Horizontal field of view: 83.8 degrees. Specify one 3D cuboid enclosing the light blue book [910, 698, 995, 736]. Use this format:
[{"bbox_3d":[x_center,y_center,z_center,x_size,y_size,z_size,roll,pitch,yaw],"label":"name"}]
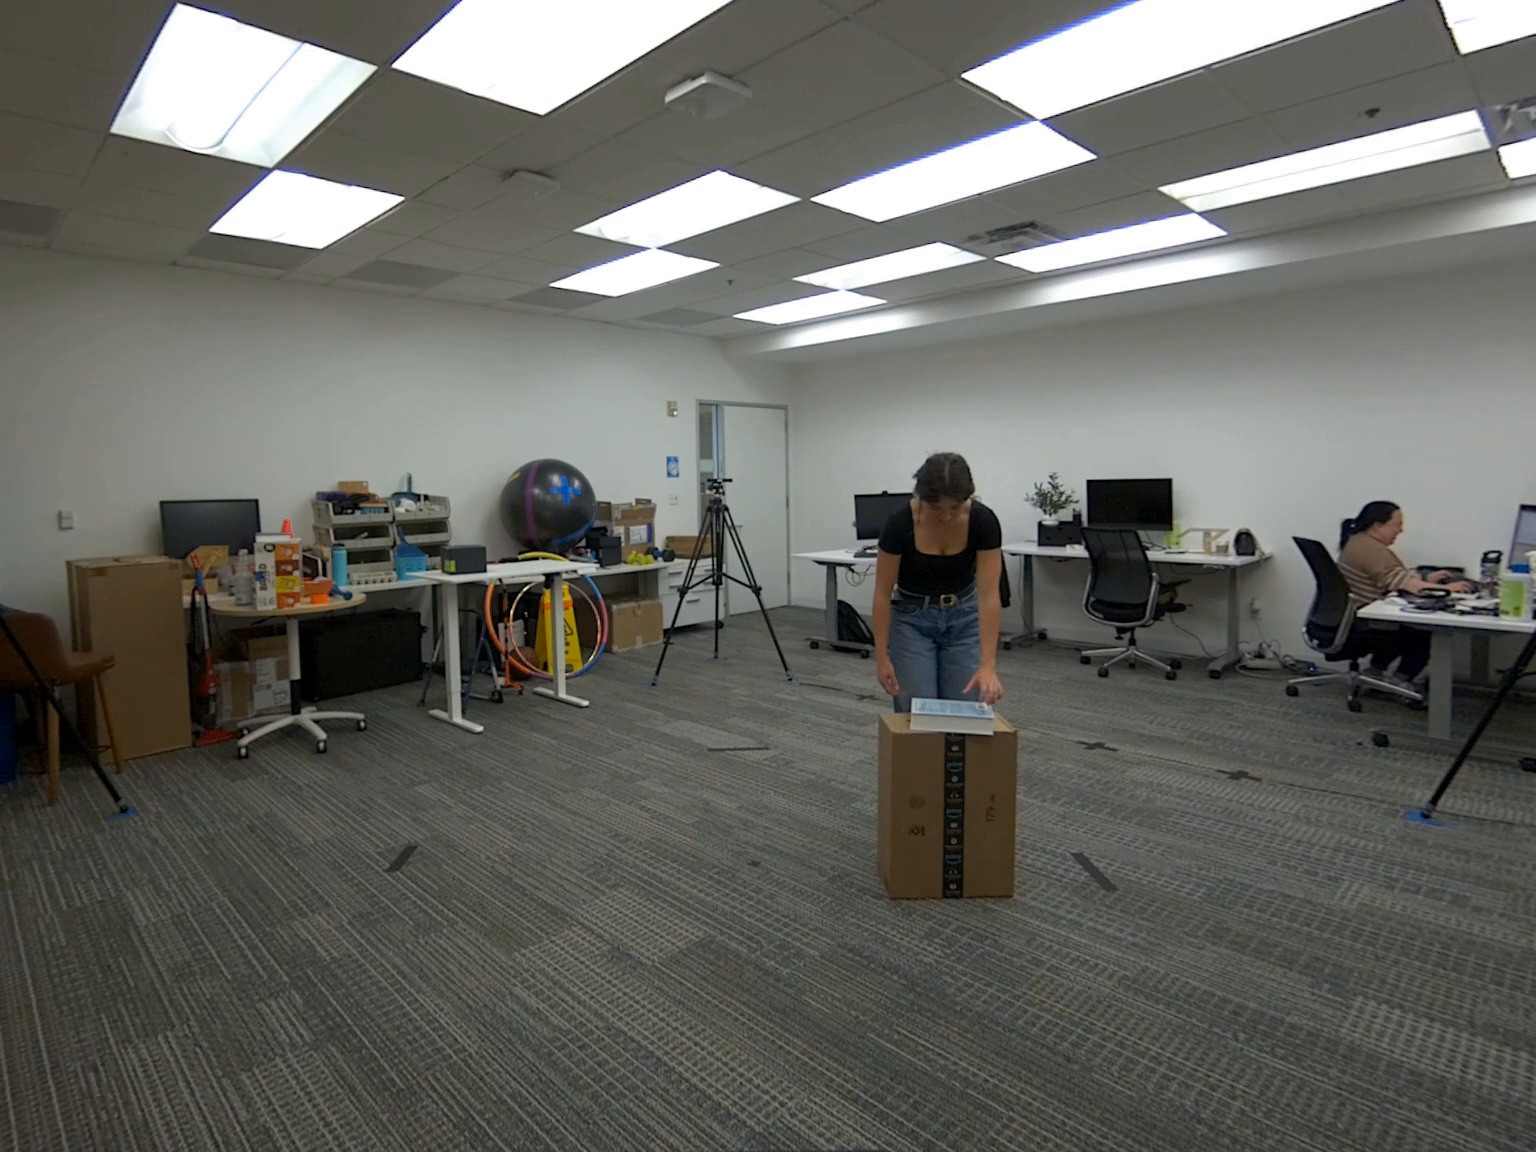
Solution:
[{"bbox_3d":[0.627,0.474,2.874,0.264,0.059,0.190,1,7,12],"label":"light blue book"}]
